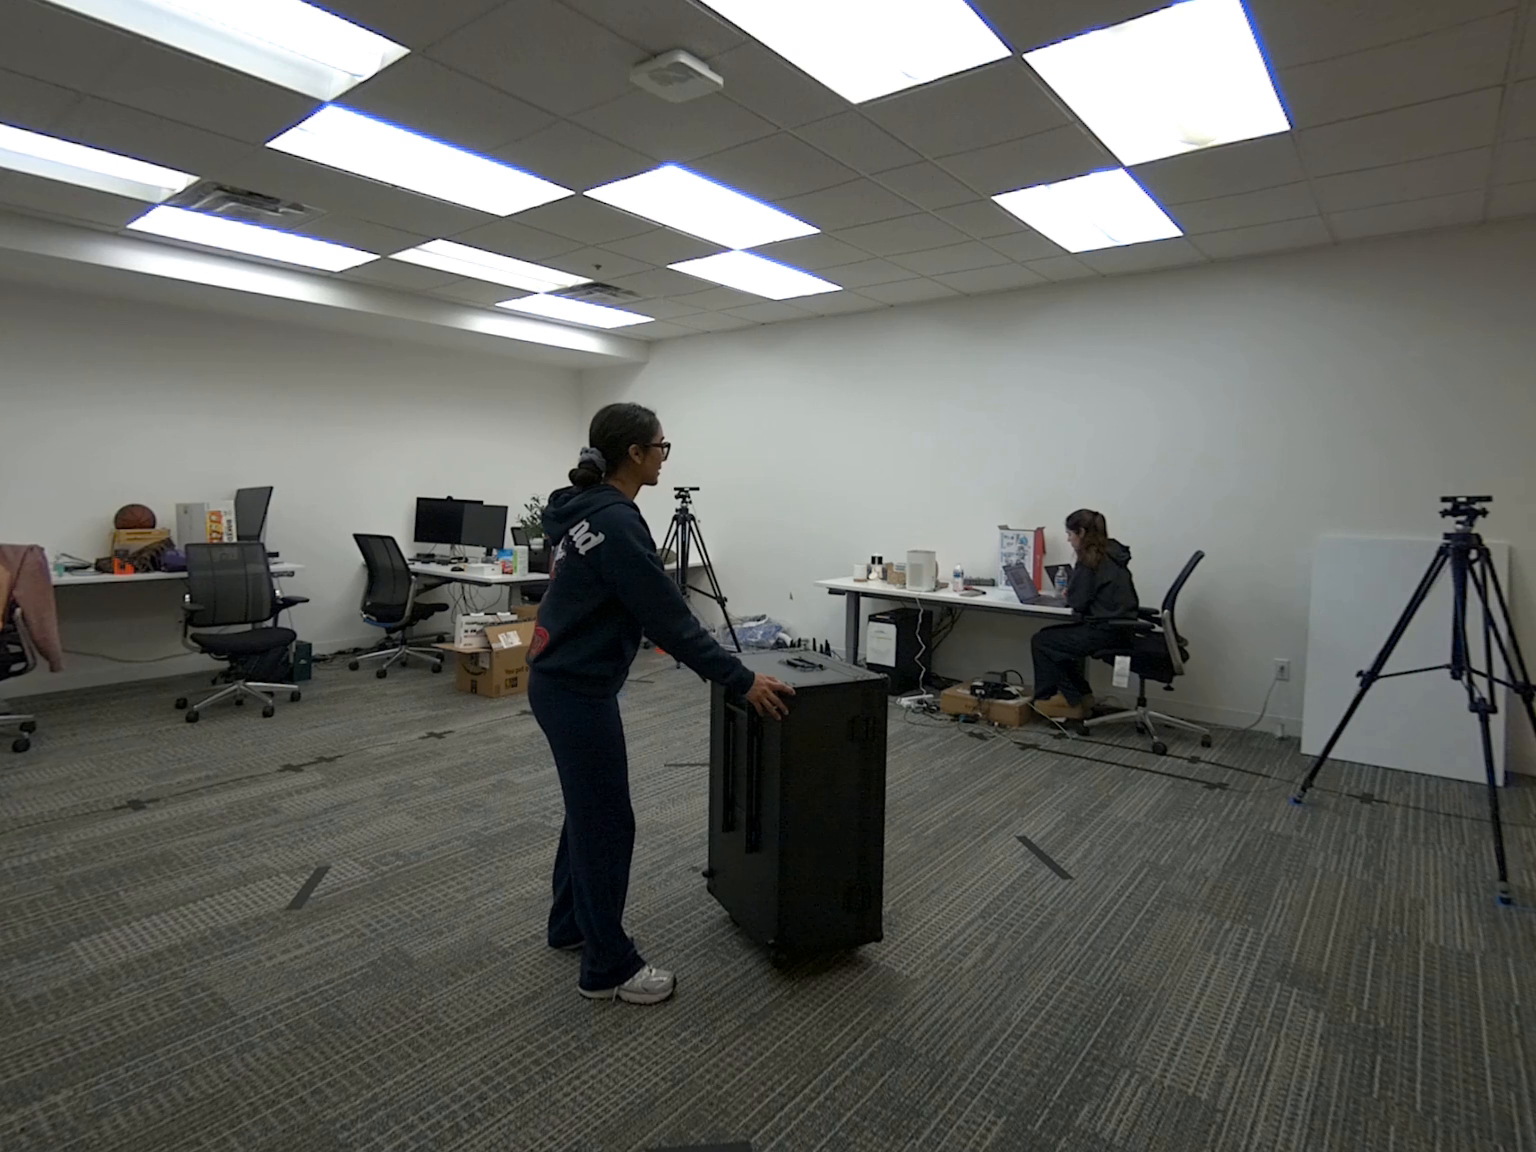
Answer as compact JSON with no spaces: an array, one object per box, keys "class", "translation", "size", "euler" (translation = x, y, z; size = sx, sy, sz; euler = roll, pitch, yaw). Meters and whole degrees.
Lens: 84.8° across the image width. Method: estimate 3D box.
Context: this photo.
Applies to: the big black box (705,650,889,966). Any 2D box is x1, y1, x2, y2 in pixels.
[{"class":"big black box","translation":[0.063,0.696,2.613],"size":[0.387,0.858,0.536],"euler":[-2,5,-27]}]
